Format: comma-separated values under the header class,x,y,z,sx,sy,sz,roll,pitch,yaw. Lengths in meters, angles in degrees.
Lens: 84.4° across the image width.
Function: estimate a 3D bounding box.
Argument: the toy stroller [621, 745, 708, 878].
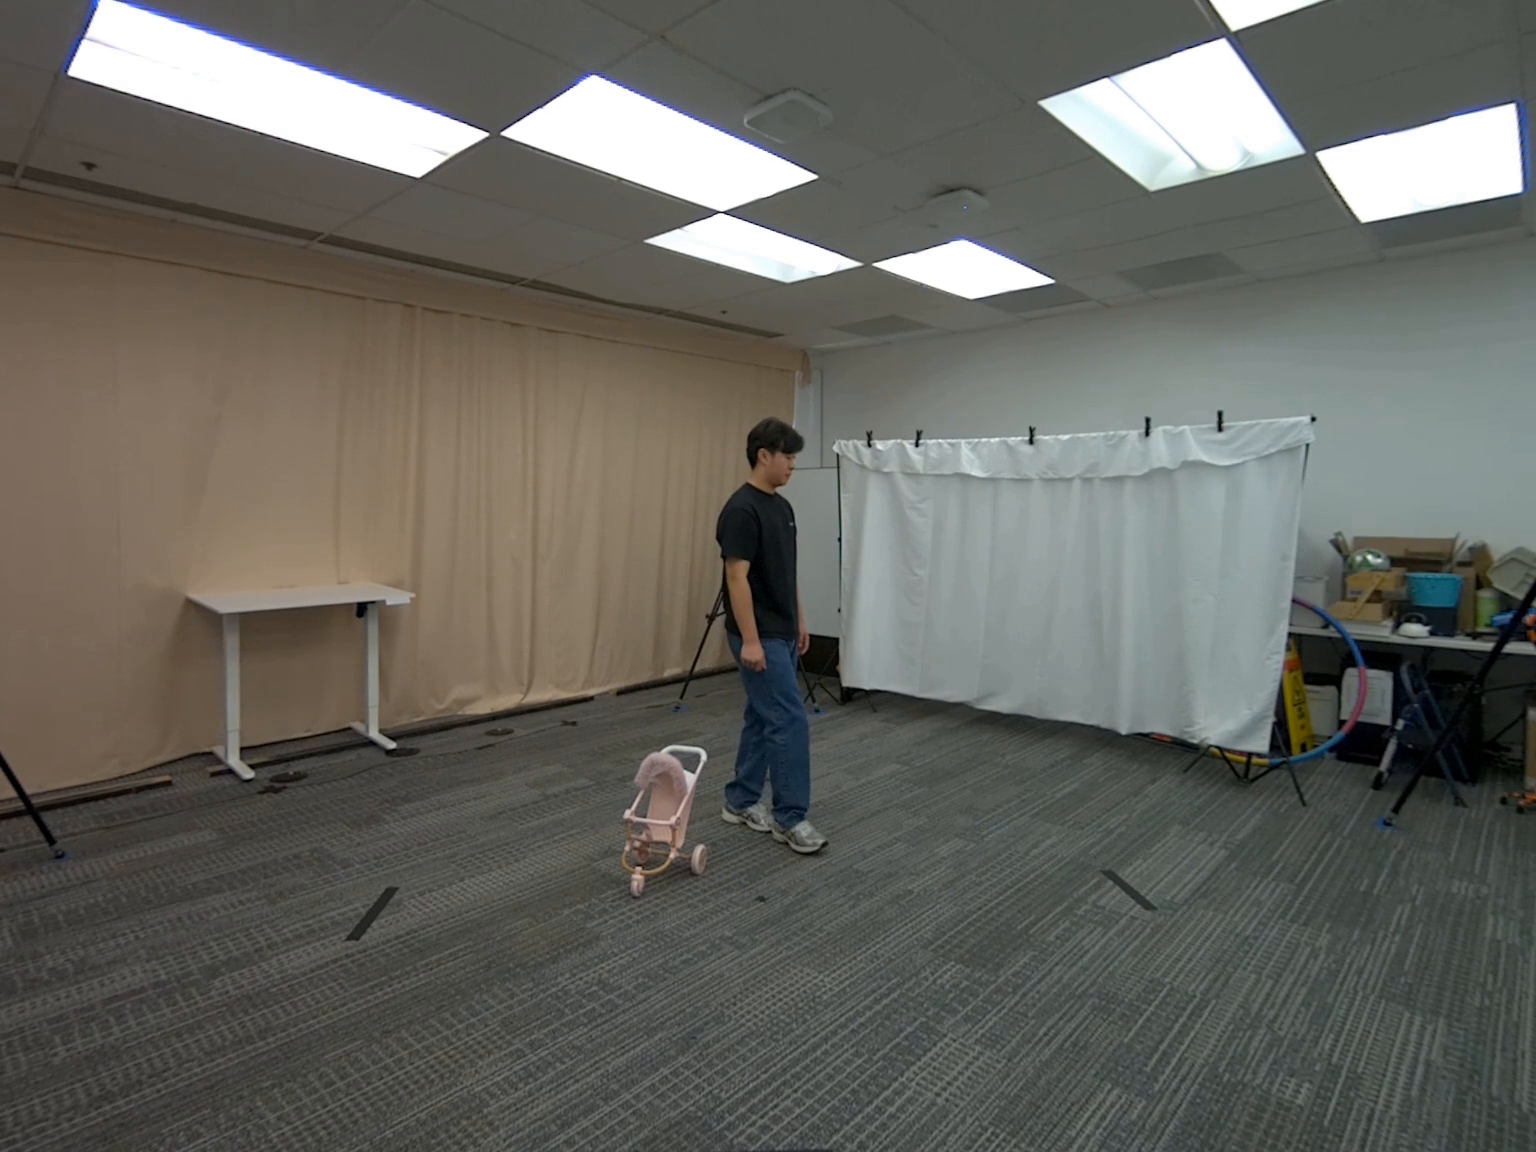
class,x,y,z,sx,sy,sz,roll,pitch,yaw
toy stroller,-0.403,0.907,3.171,0.289,0.538,0.330,0,-13,26
